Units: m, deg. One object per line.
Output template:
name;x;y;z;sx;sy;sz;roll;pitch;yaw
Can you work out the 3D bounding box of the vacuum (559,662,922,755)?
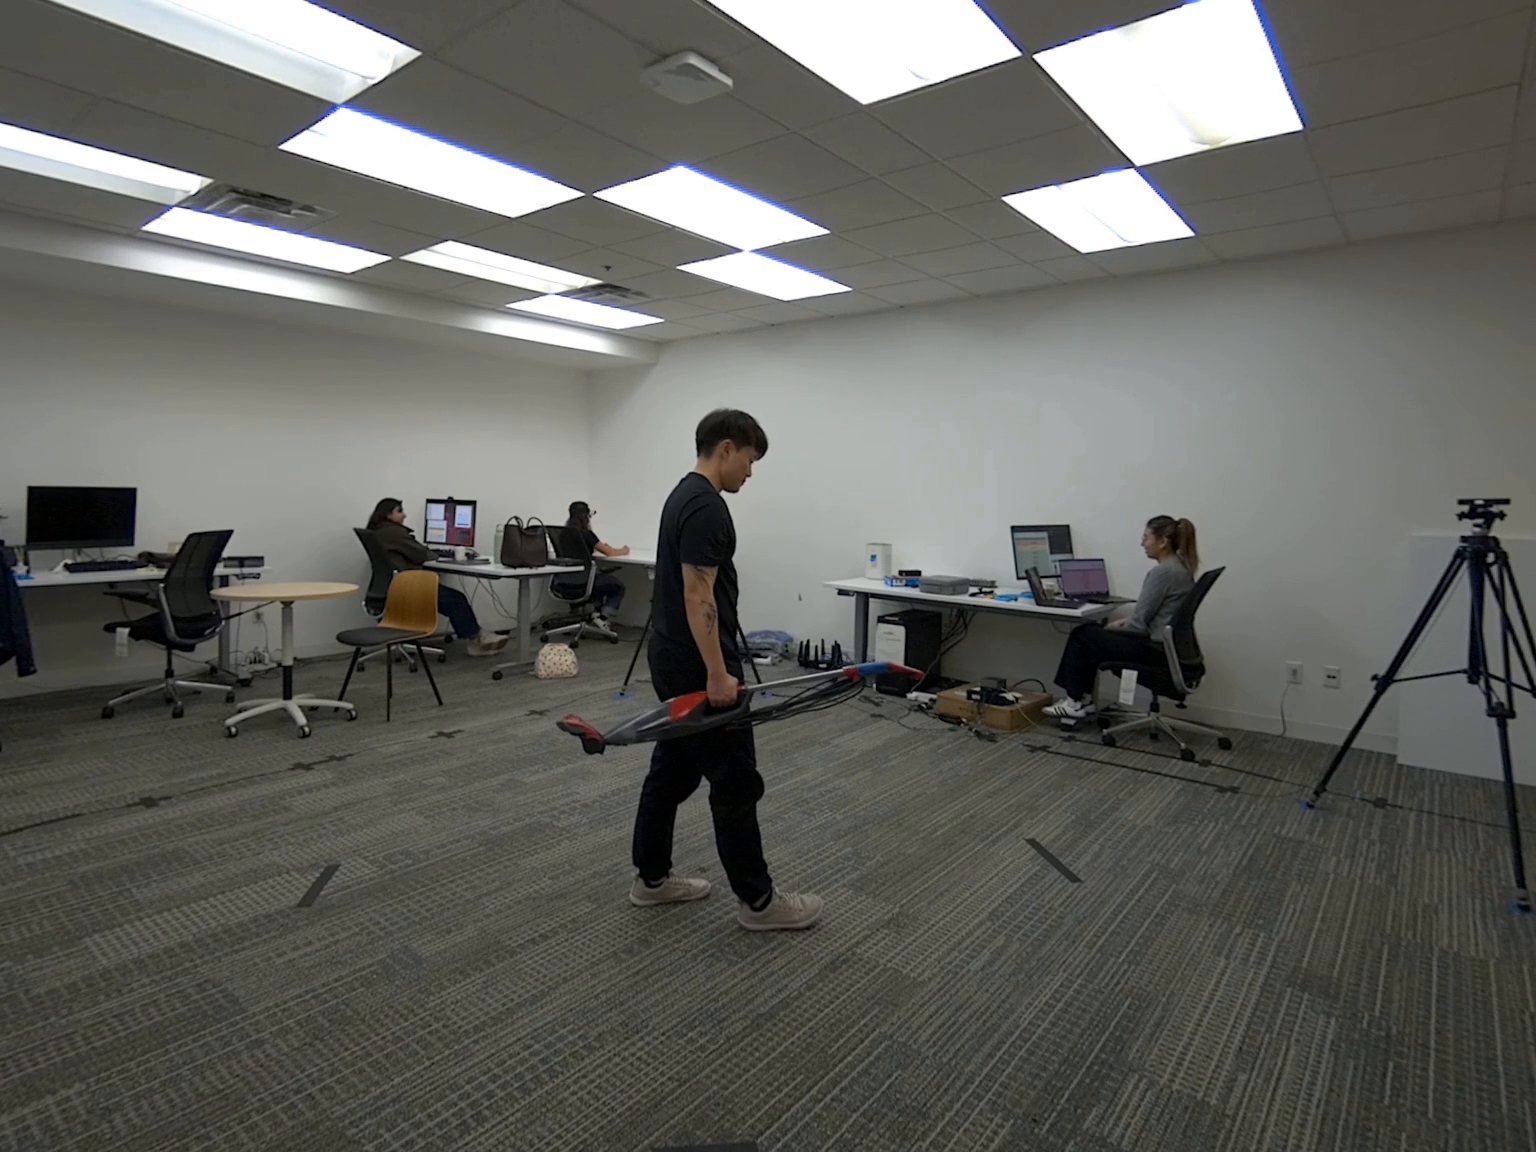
vacuum;-0.064;0.383;2.577;1.046;0.145;0.251;-11;-6;-4
